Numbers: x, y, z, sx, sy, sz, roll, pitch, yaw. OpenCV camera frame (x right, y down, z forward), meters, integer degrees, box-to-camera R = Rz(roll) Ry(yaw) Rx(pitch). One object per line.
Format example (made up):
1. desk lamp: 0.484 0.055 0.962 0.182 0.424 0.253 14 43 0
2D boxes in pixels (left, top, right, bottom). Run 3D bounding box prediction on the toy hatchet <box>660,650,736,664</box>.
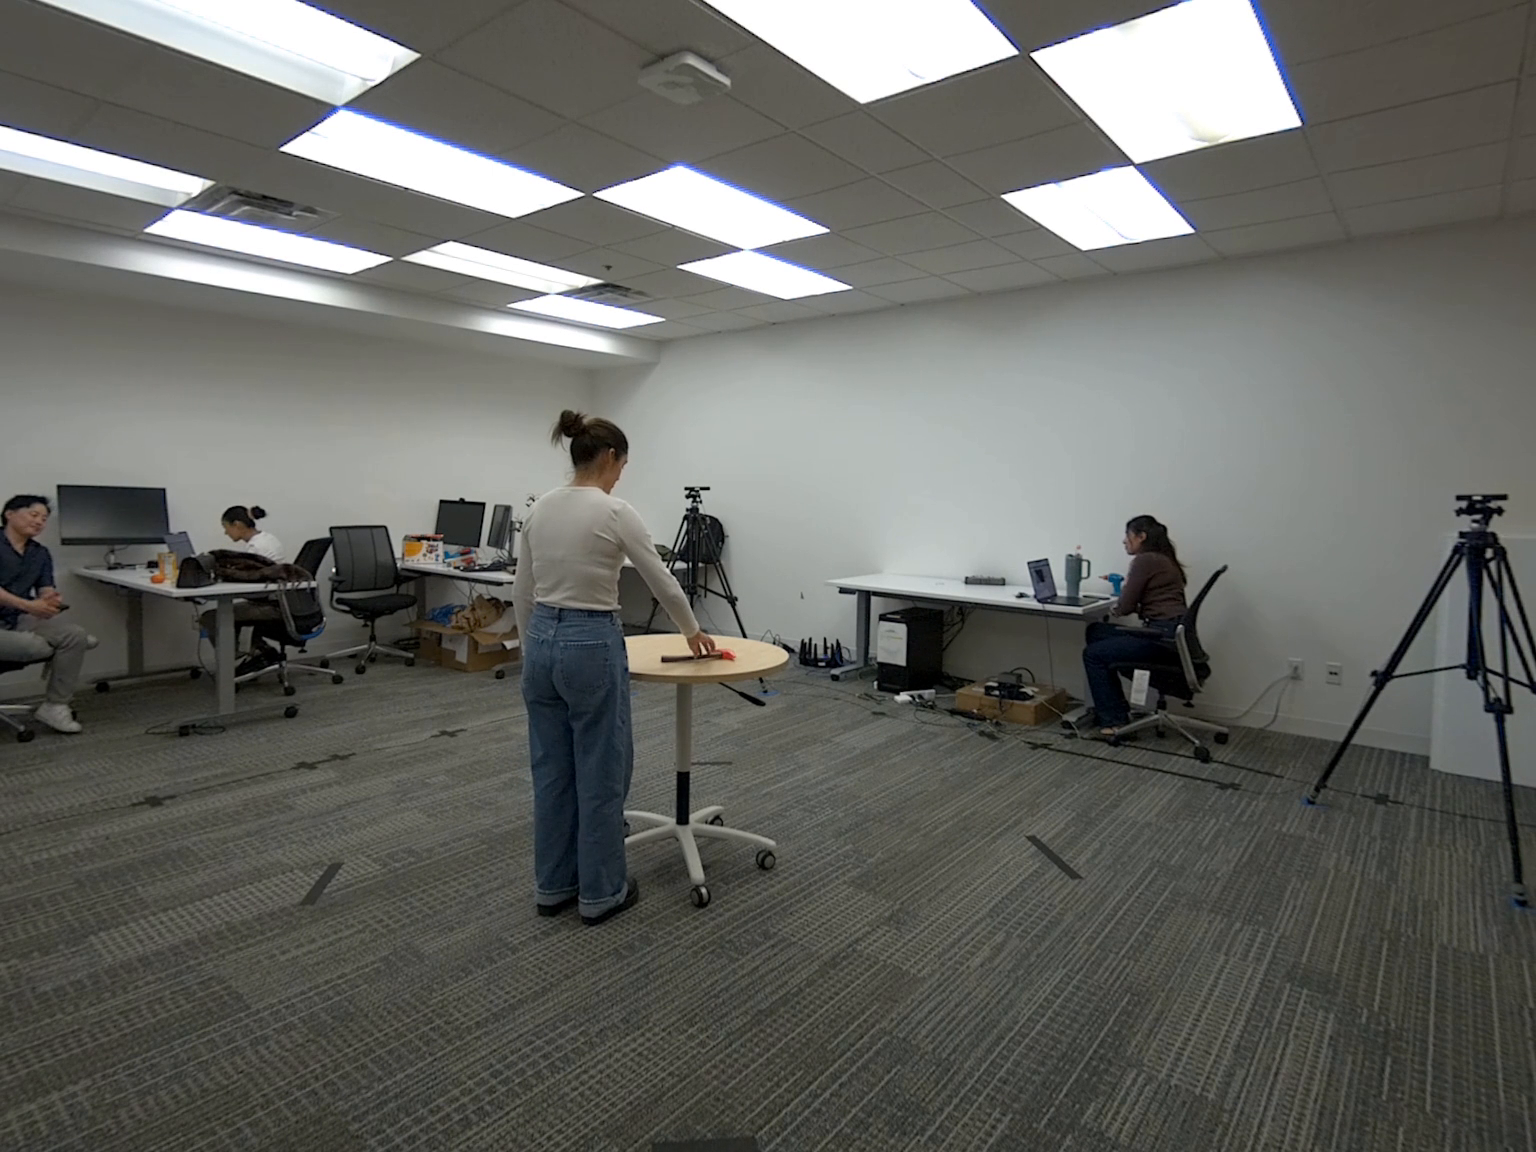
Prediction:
1. toy hatchet: -0.259 0.277 3.026 0.268 0.029 0.133 -1 9 -9
